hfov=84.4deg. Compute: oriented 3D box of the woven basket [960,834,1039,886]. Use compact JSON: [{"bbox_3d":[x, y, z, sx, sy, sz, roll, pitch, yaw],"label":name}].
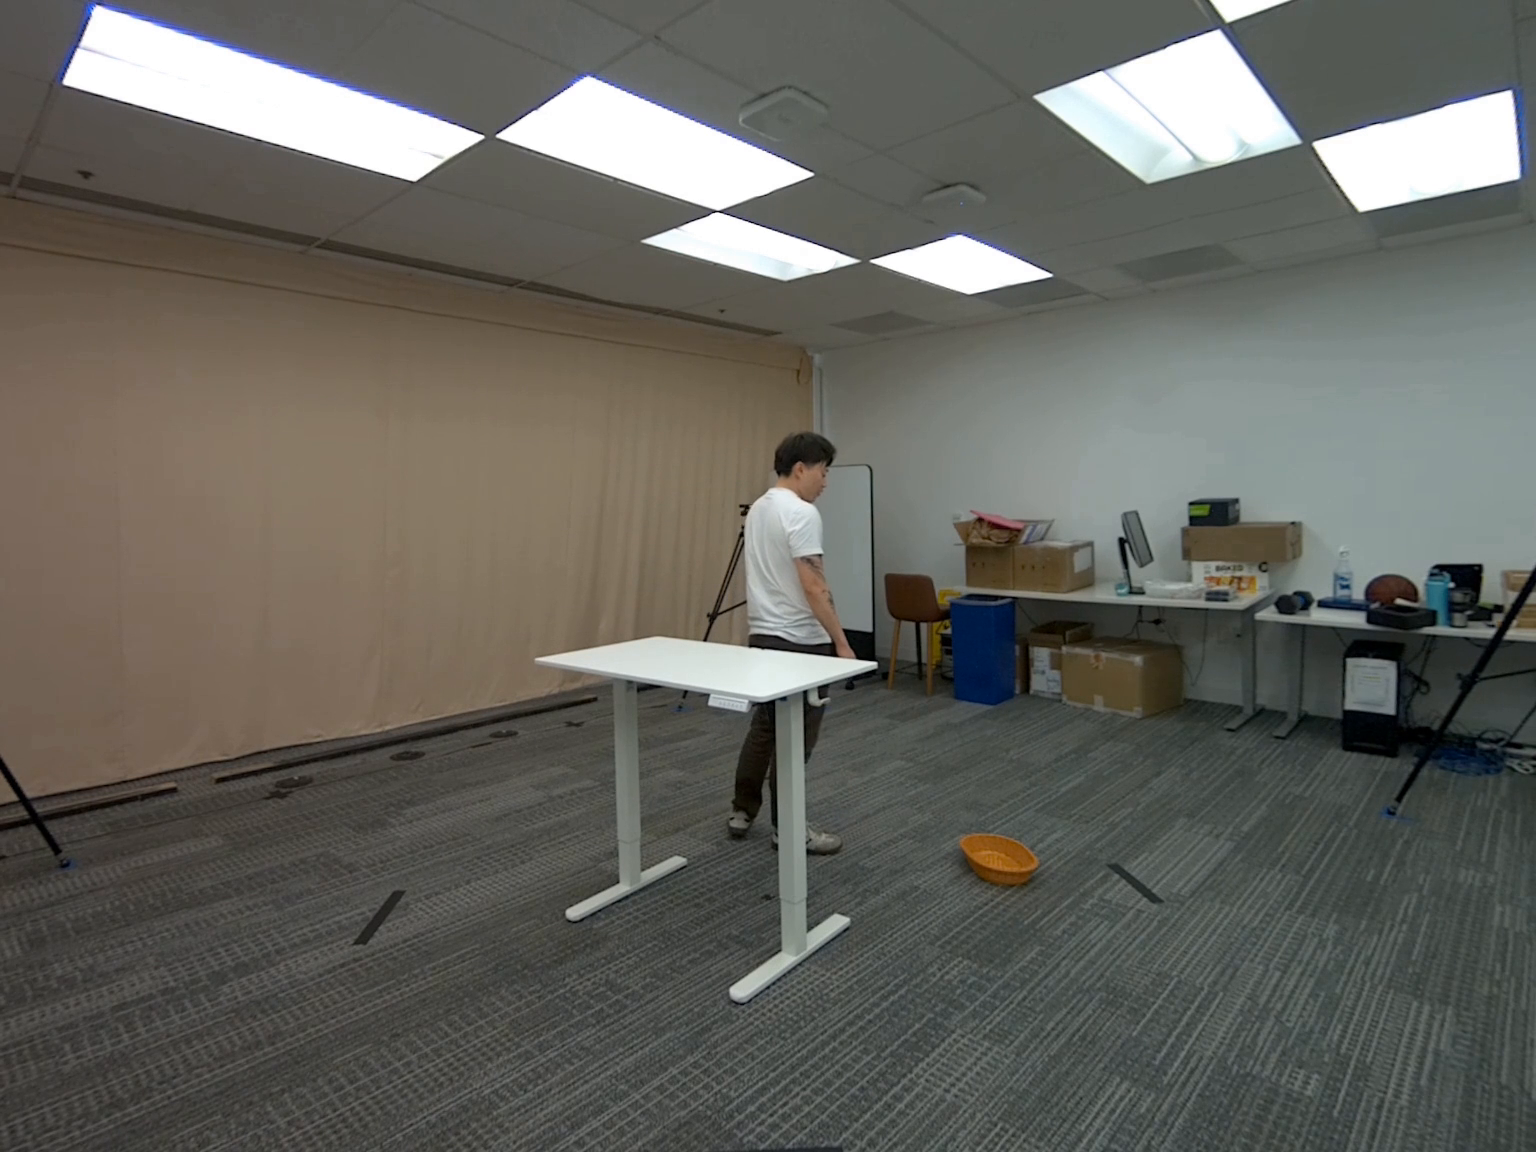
[{"bbox_3d":[0.870,1.071,3.177,0.252,0.073,0.351,0,4,-2],"label":"woven basket"}]
